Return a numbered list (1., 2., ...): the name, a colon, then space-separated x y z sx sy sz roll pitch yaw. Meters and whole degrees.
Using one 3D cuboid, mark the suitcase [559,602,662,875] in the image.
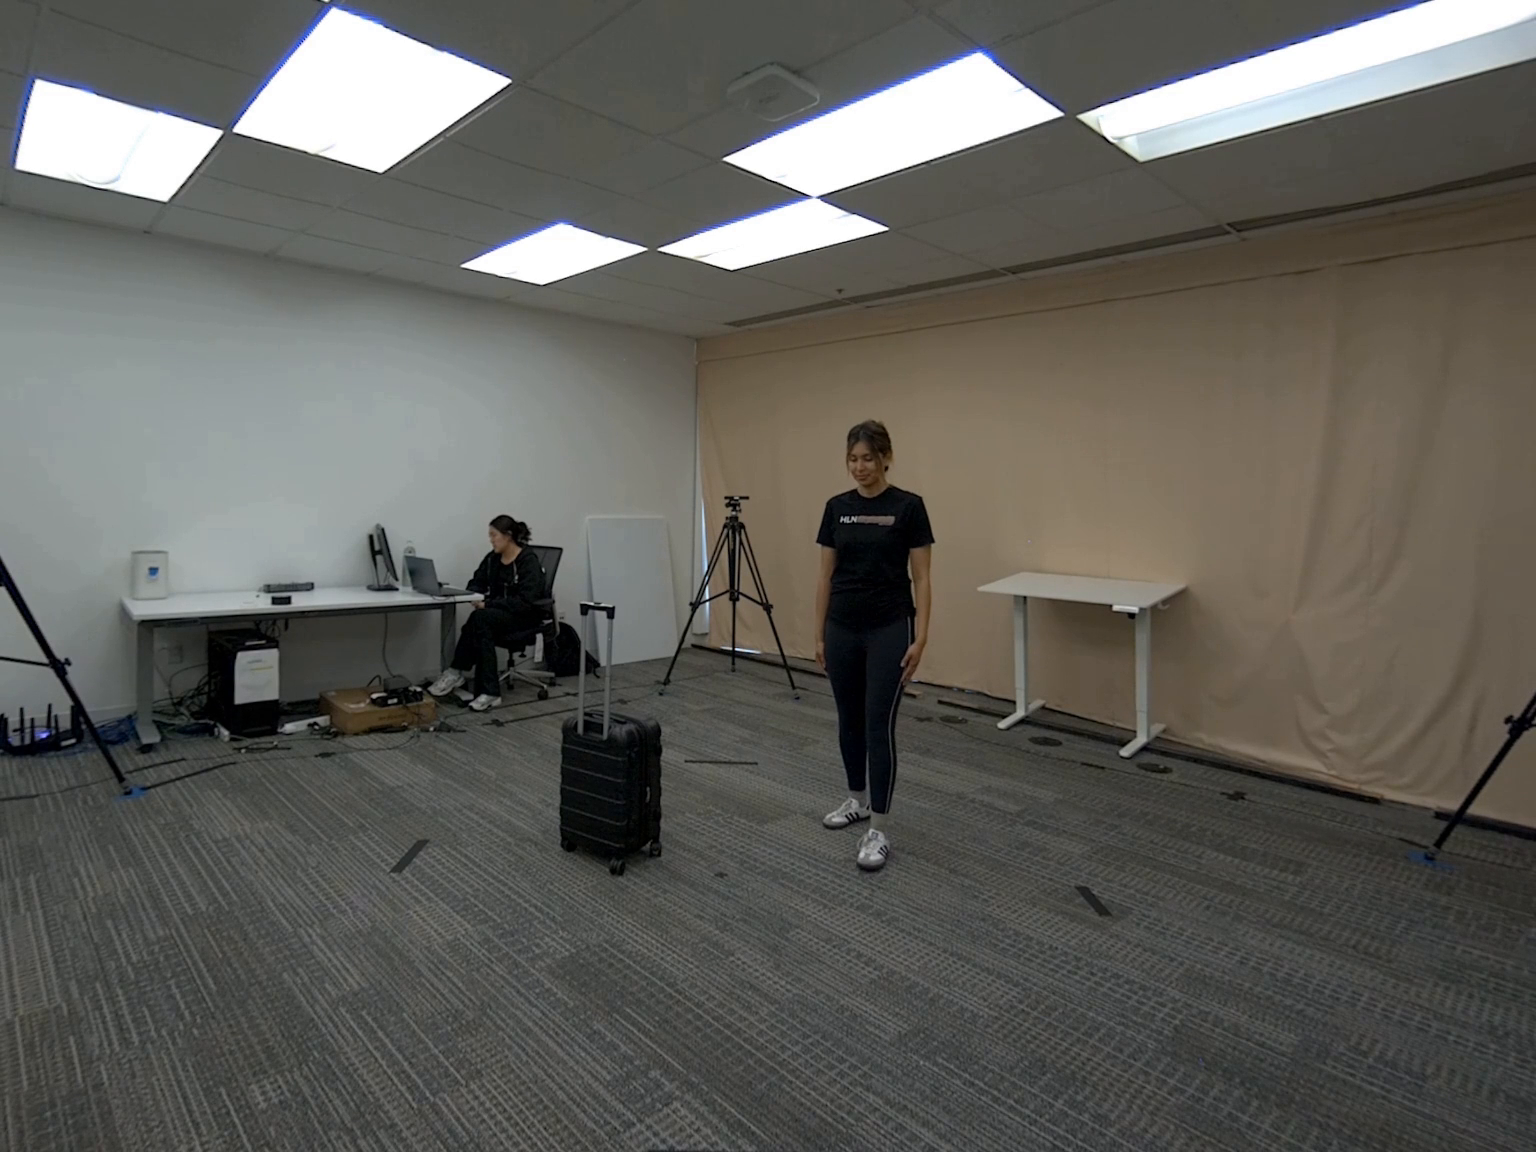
1. suitcase: -0.614 0.603 3.263 0.392 0.978 0.251 2 1 32
